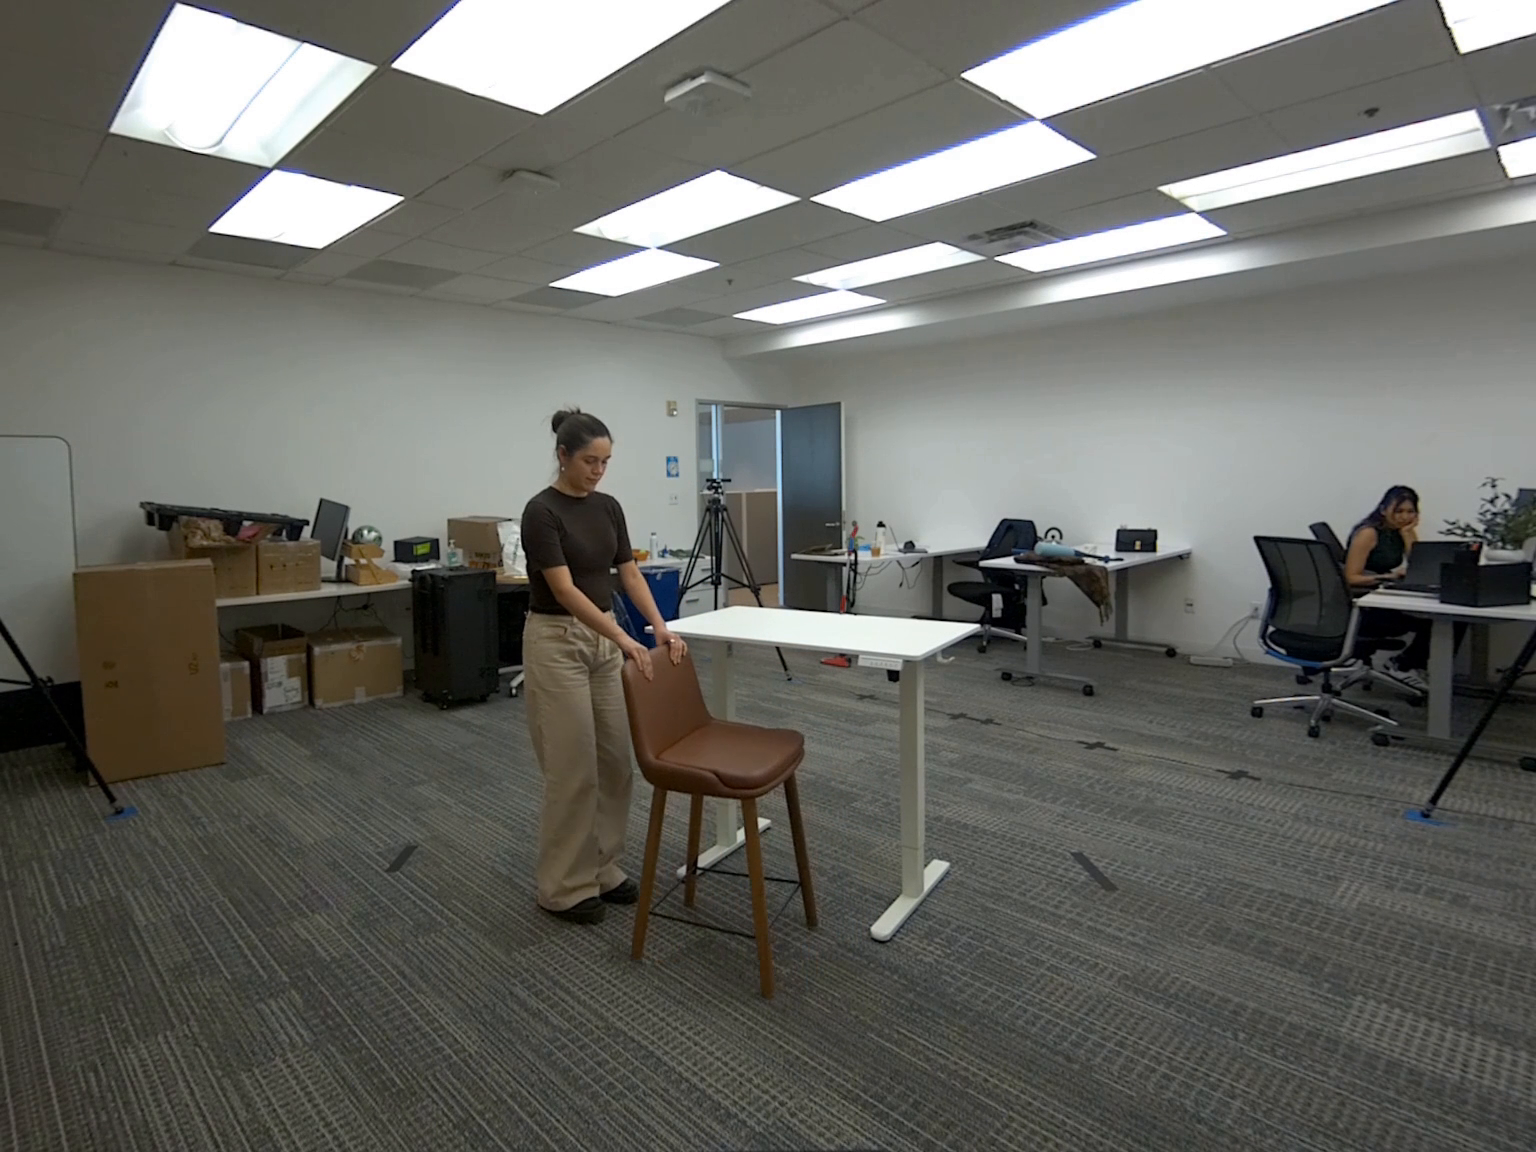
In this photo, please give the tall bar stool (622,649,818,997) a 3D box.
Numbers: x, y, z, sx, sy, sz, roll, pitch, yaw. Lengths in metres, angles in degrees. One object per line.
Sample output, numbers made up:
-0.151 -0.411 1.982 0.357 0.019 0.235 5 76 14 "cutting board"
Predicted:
-0.138 0.678 2.543 0.478 0.887 0.448 -2 3 24 "tall bar stool"
